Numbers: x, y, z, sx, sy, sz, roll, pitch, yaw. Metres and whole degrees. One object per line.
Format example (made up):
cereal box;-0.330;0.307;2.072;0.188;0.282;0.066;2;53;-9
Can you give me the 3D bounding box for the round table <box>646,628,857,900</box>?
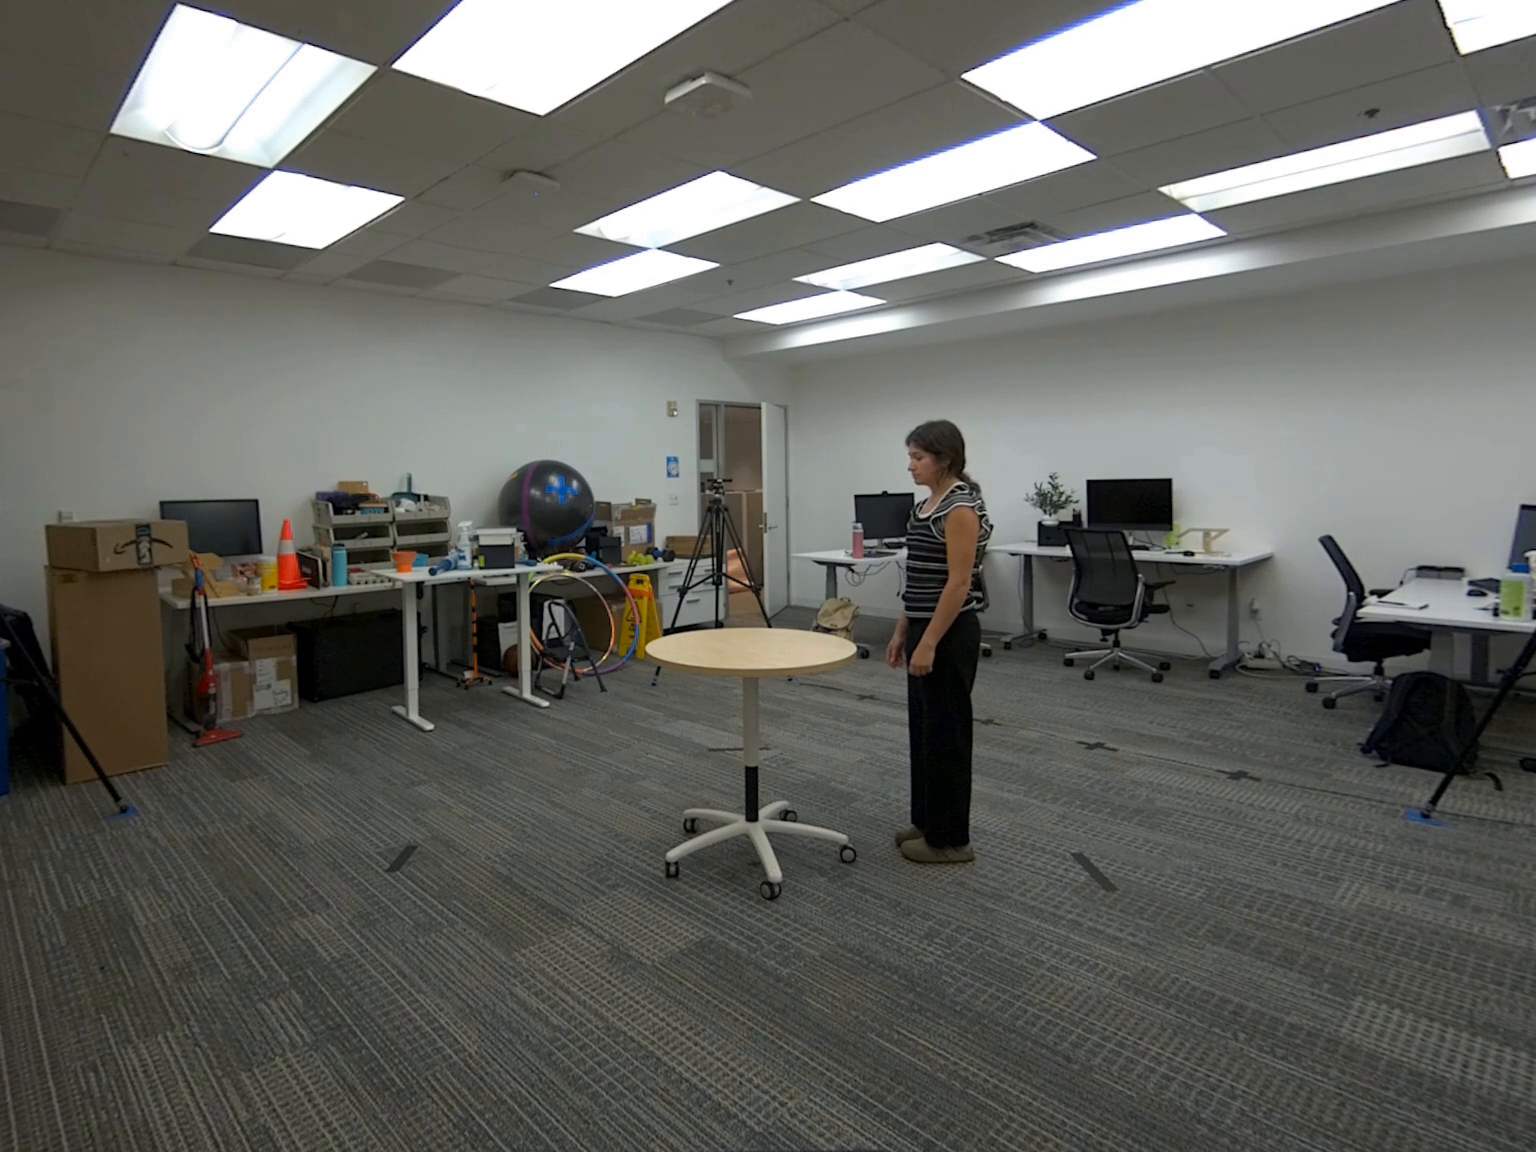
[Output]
round table;-0.048;0.646;3.132;0.784;0.783;0.789;-1;5;-2
